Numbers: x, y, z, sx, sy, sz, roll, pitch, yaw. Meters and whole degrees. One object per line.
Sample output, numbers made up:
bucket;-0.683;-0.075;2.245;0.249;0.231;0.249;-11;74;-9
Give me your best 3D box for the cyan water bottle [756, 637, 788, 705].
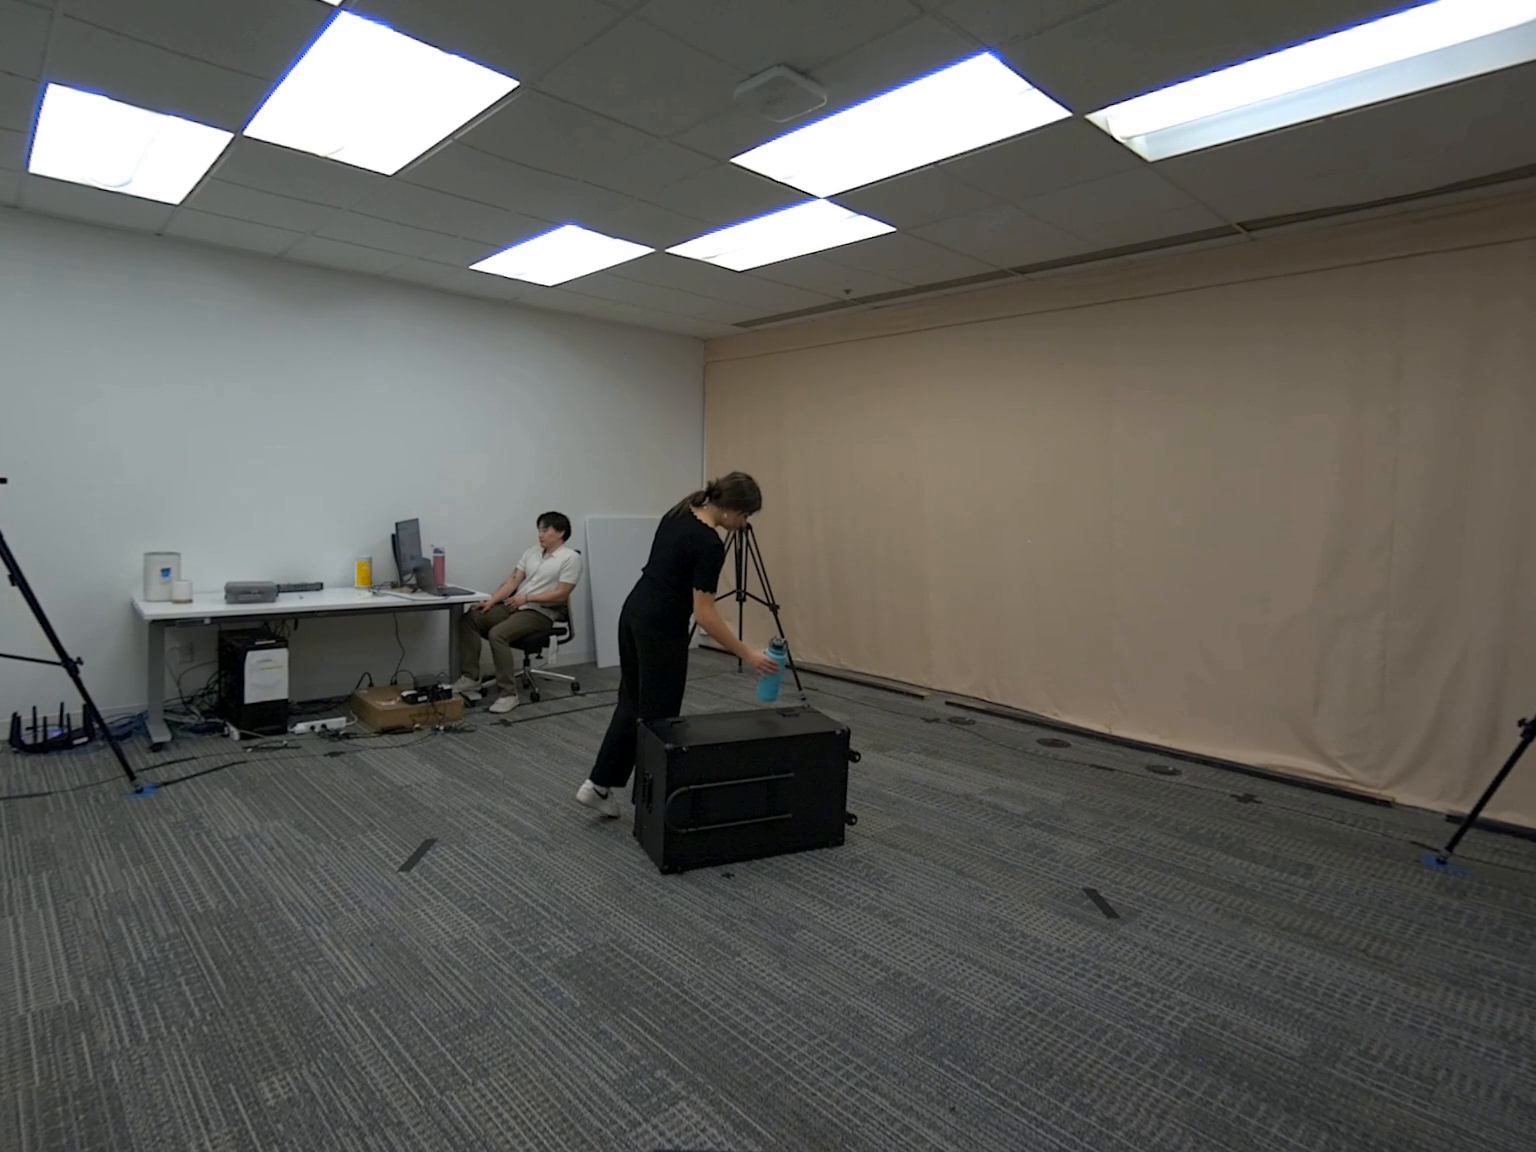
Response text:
cyan water bottle;0.005;0.368;3.412;0.092;0.280;0.094;9;23;-5
